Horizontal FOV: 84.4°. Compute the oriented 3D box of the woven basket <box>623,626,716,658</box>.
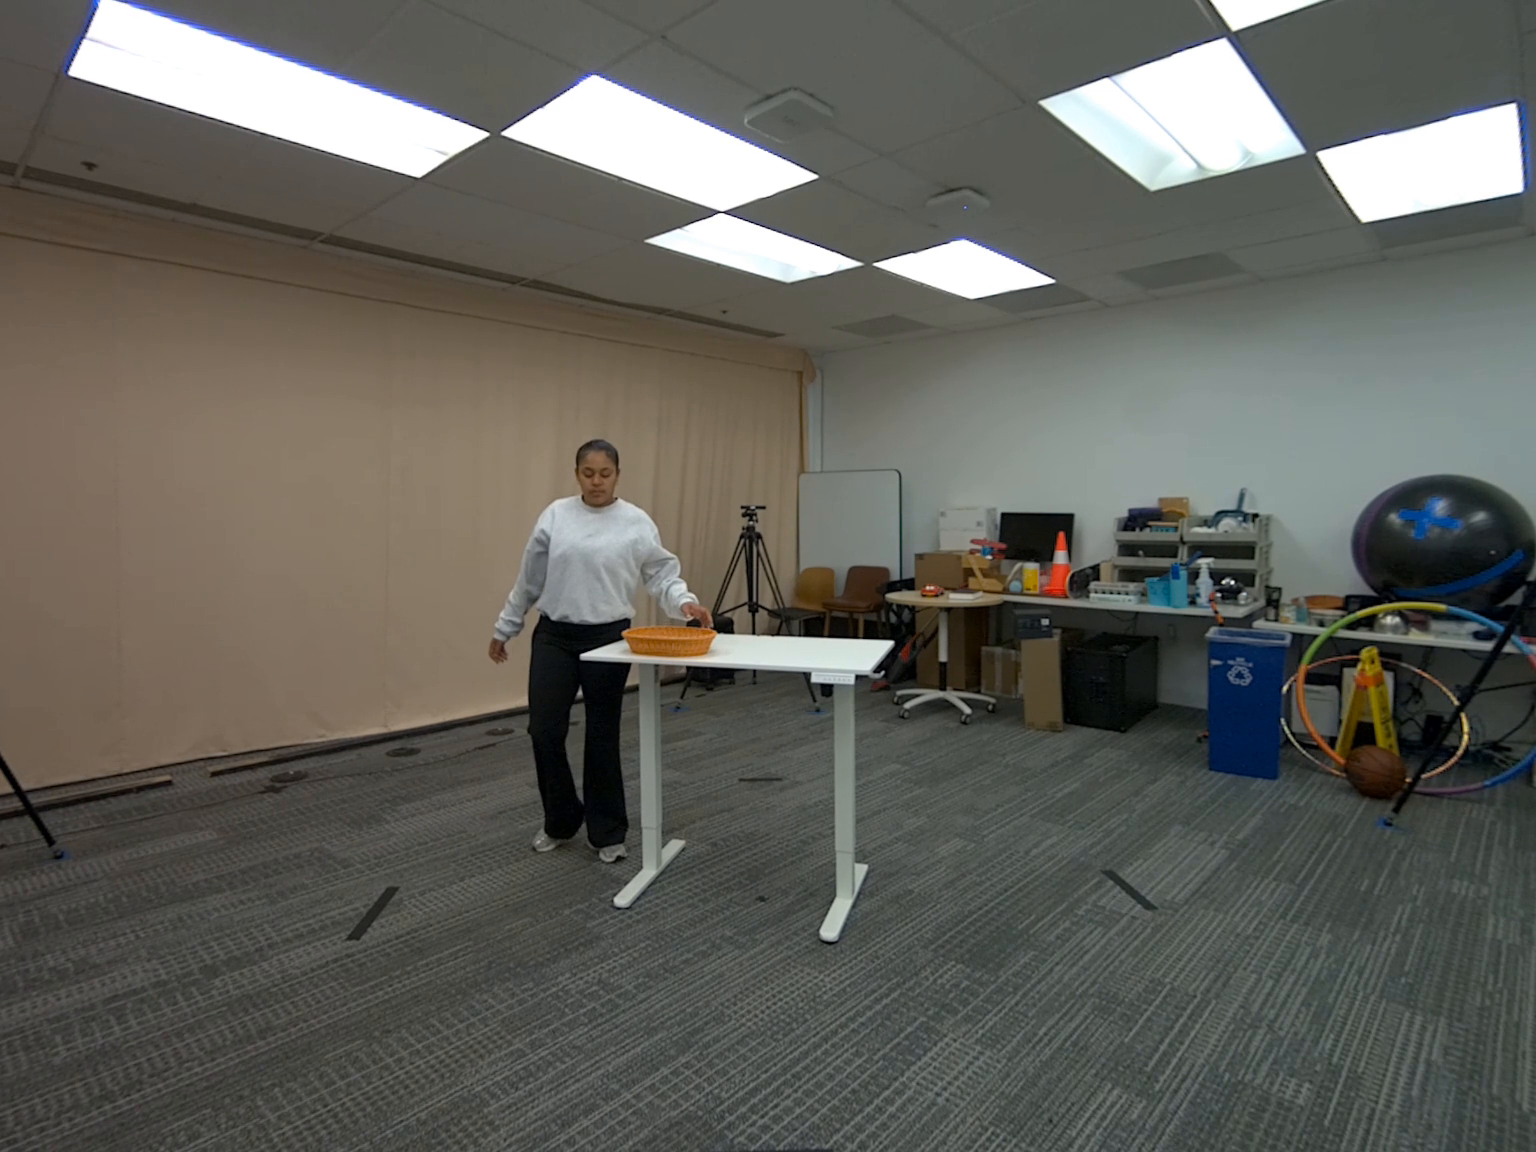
[{"bbox_3d":[-0.350,0.237,2.958,0.359,0.073,0.246,2,6,25],"label":"woven basket"}]
